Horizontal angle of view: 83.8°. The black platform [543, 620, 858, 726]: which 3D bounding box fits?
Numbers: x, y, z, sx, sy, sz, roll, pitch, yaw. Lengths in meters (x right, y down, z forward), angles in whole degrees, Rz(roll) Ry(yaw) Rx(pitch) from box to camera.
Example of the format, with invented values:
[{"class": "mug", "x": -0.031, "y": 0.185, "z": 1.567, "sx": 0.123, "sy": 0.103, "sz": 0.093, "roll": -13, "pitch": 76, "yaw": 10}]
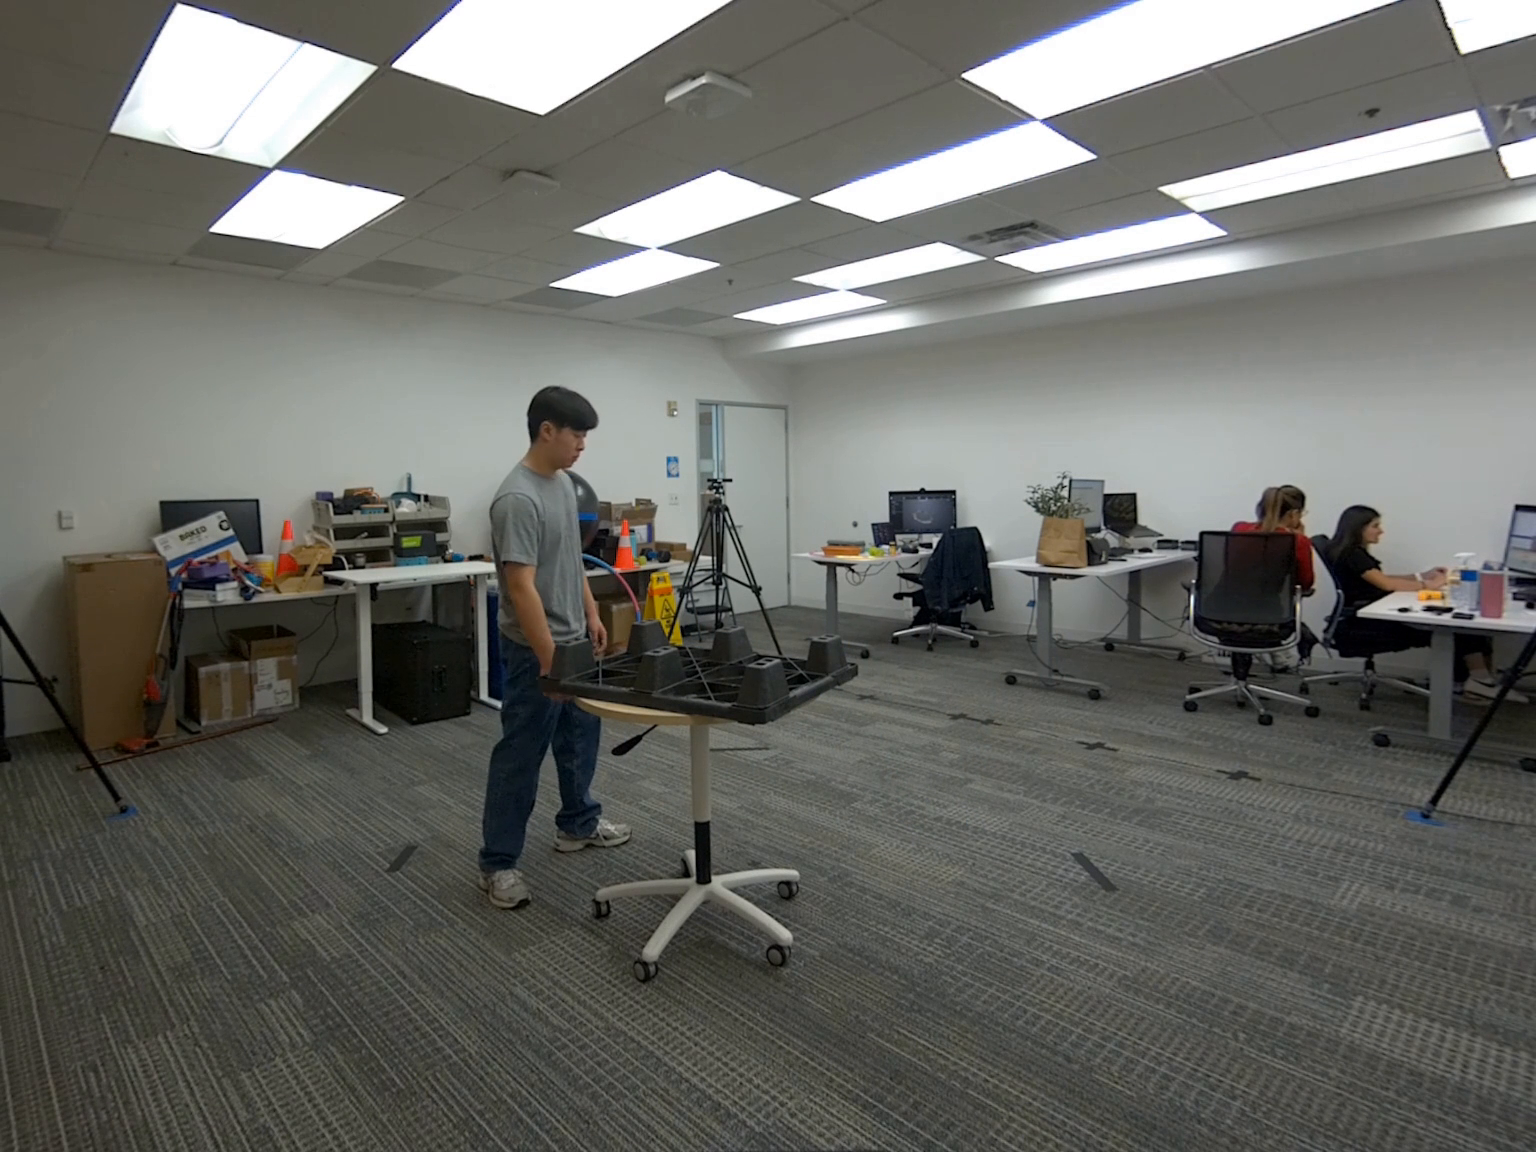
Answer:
[{"class": "black platform", "x": -0.201, "y": 0.261, "z": 2.588, "sx": 0.827, "sy": 0.142, "sz": 0.592, "roll": 2, "pitch": 8, "yaw": 31}]
